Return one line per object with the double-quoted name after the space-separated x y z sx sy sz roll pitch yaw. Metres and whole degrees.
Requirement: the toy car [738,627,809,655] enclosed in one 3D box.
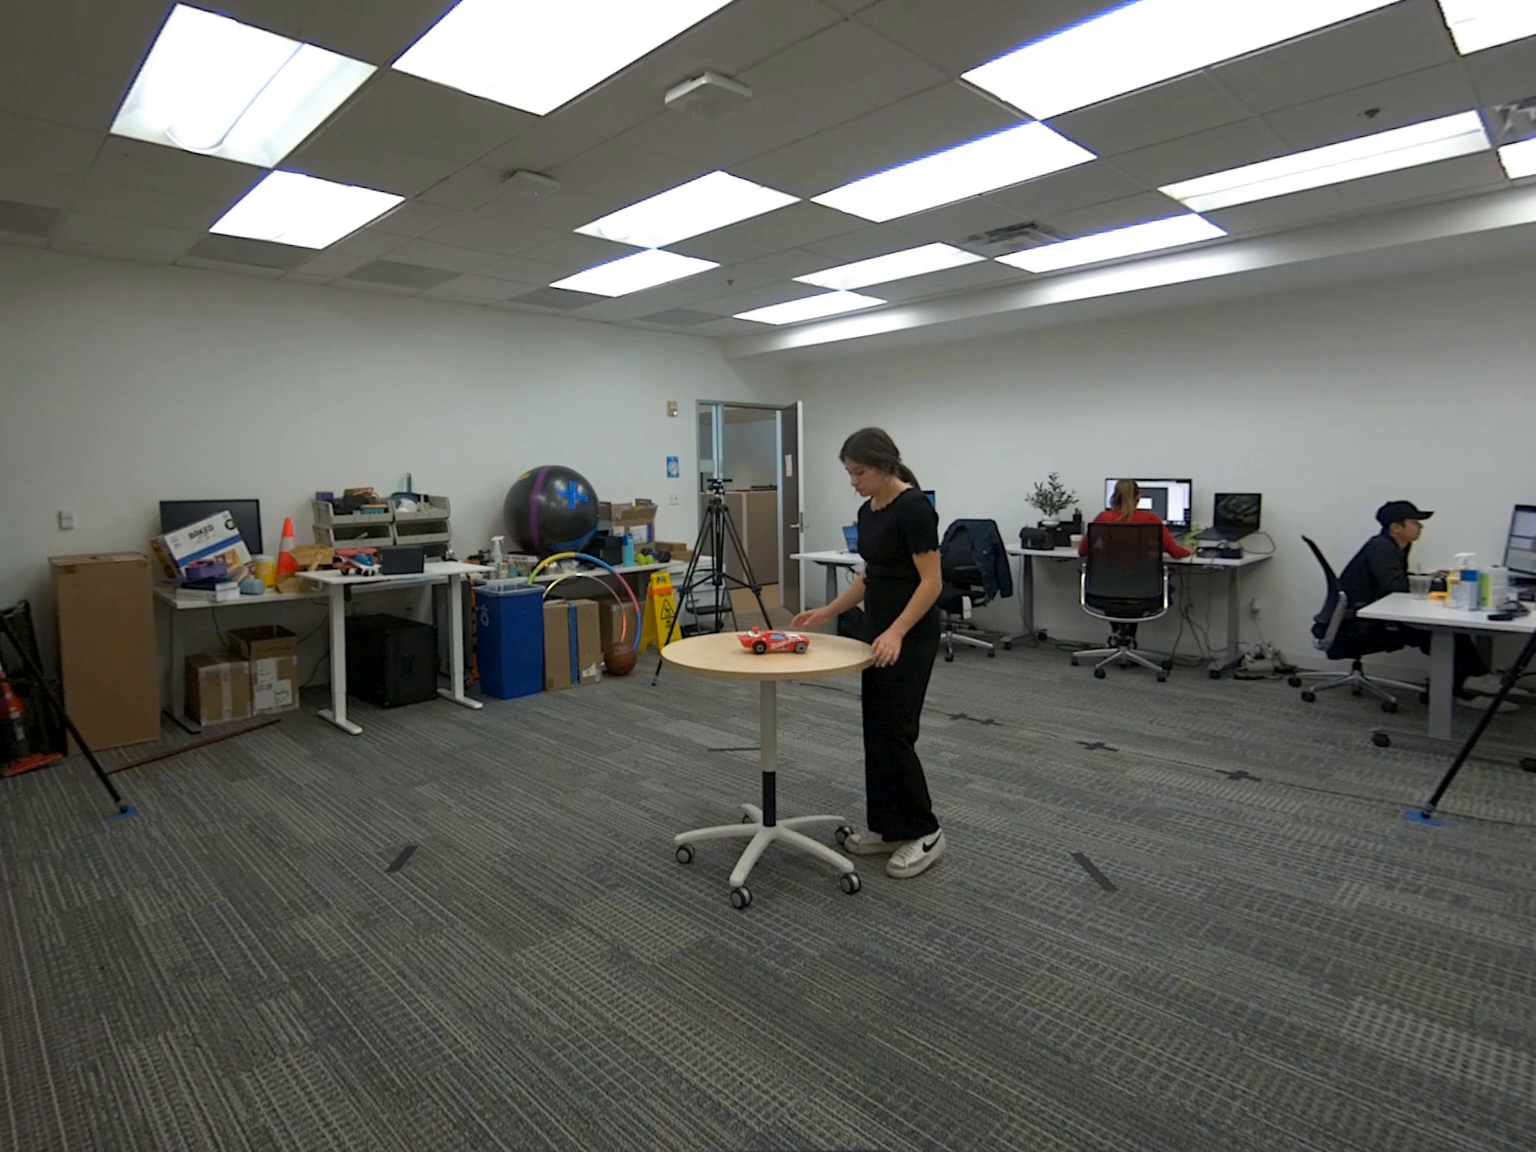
0.019 0.237 3.026 0.254 0.083 0.131 10 5 -3 "toy car"
